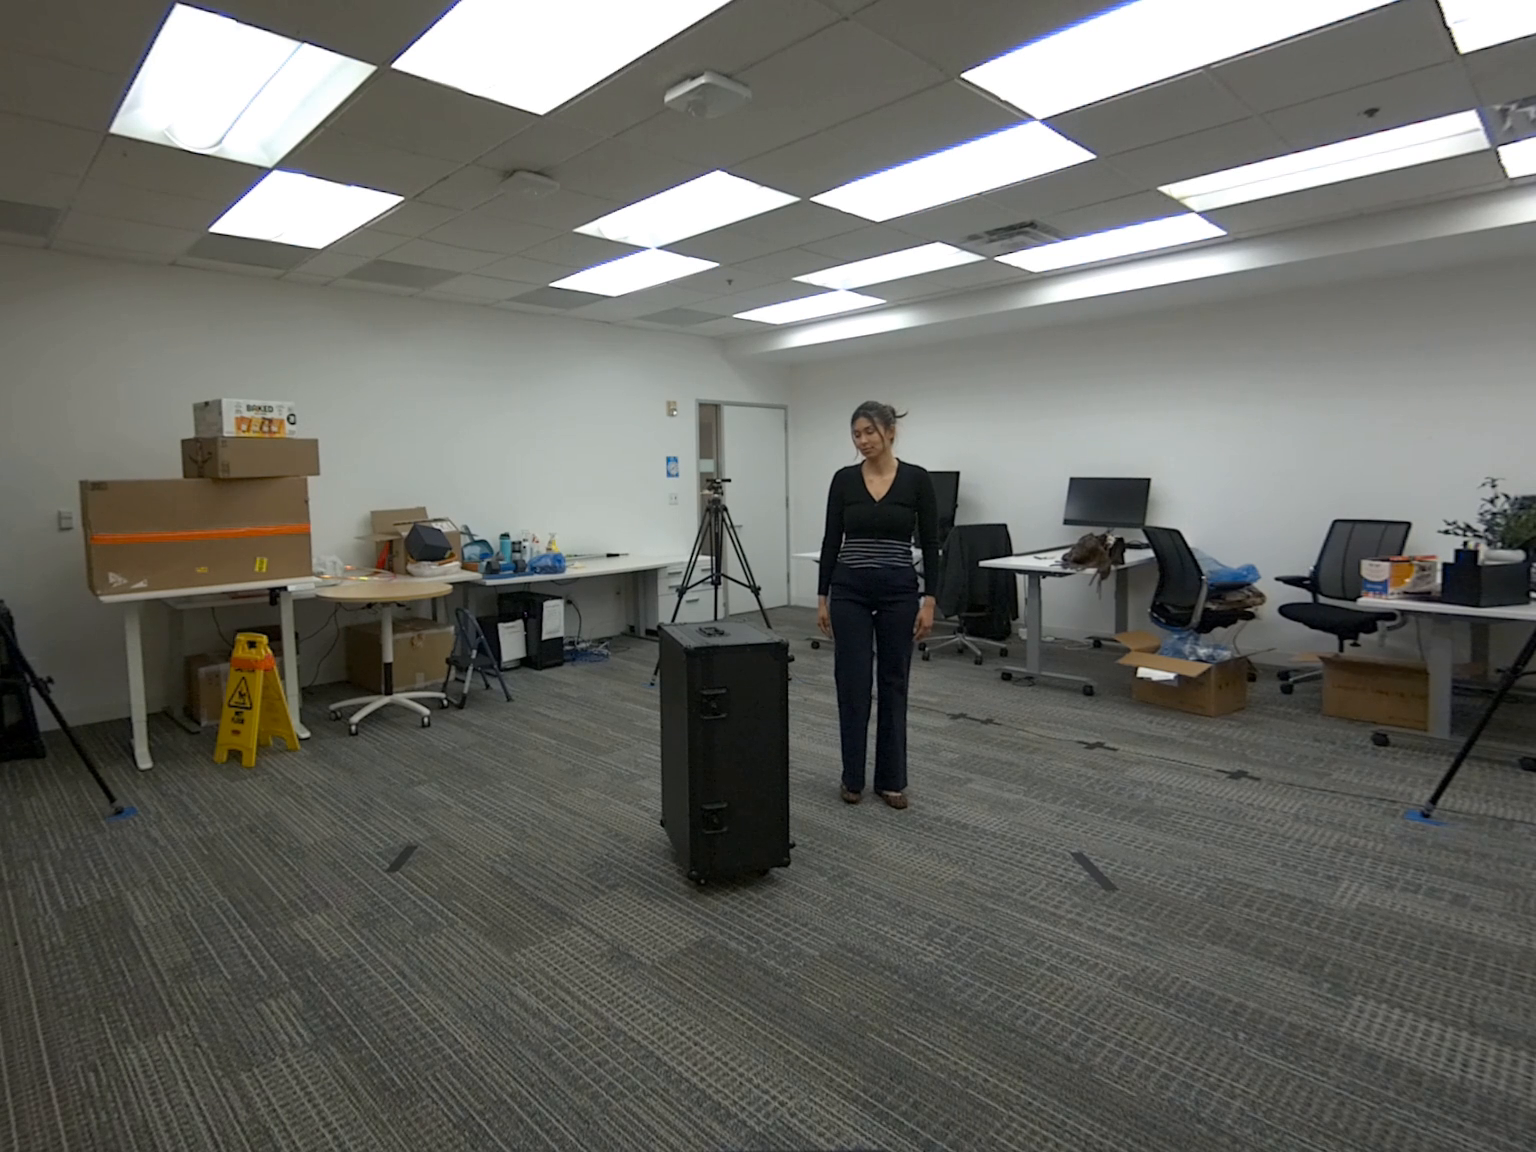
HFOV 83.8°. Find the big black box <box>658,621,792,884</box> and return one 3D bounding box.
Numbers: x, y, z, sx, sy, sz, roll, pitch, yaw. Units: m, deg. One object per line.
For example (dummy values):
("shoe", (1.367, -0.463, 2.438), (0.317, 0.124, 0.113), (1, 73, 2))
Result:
("big black box", (-0.160, 0.561, 3.079), (0.390, 0.859, 0.531), (-2, 4, -18))
